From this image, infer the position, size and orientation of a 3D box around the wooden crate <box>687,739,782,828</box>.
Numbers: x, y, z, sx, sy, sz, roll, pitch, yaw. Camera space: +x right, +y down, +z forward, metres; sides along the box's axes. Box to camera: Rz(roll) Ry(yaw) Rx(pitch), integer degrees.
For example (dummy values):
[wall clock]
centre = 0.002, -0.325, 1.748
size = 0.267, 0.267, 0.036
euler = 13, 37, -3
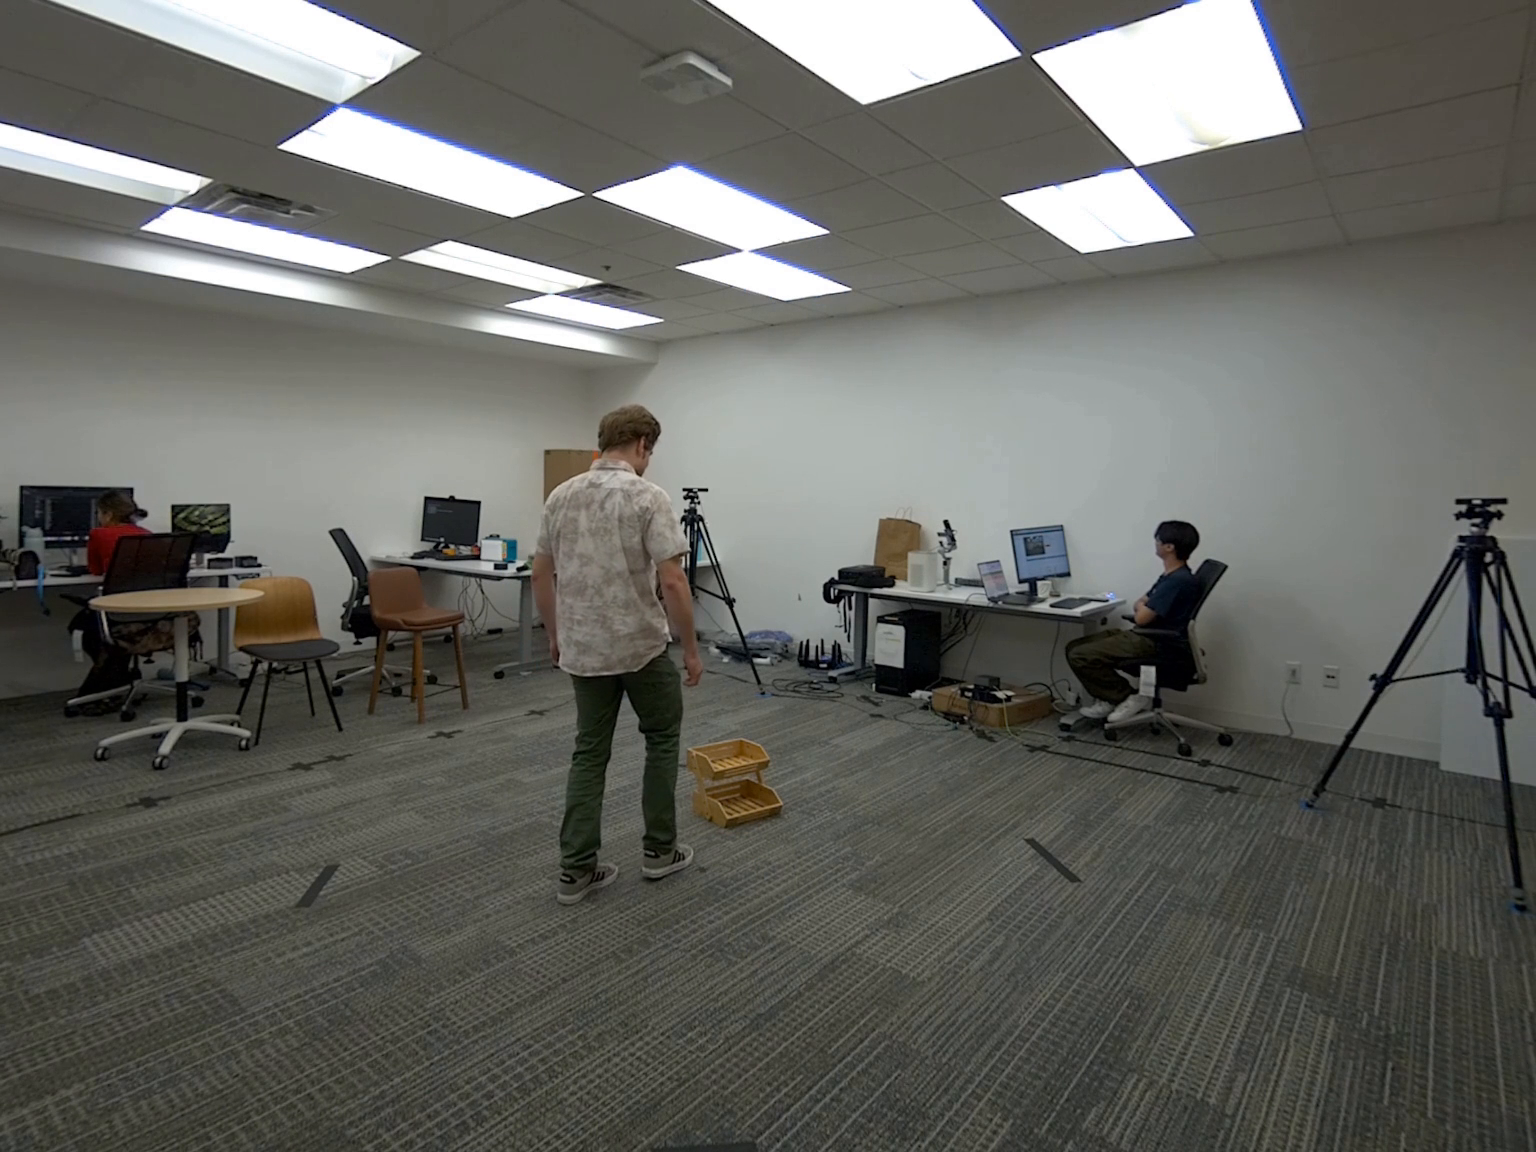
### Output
[wooden crate]
centre = -0.152, 0.881, 3.679
size = 0.315, 0.272, 0.312
euler = -3, 5, -38
